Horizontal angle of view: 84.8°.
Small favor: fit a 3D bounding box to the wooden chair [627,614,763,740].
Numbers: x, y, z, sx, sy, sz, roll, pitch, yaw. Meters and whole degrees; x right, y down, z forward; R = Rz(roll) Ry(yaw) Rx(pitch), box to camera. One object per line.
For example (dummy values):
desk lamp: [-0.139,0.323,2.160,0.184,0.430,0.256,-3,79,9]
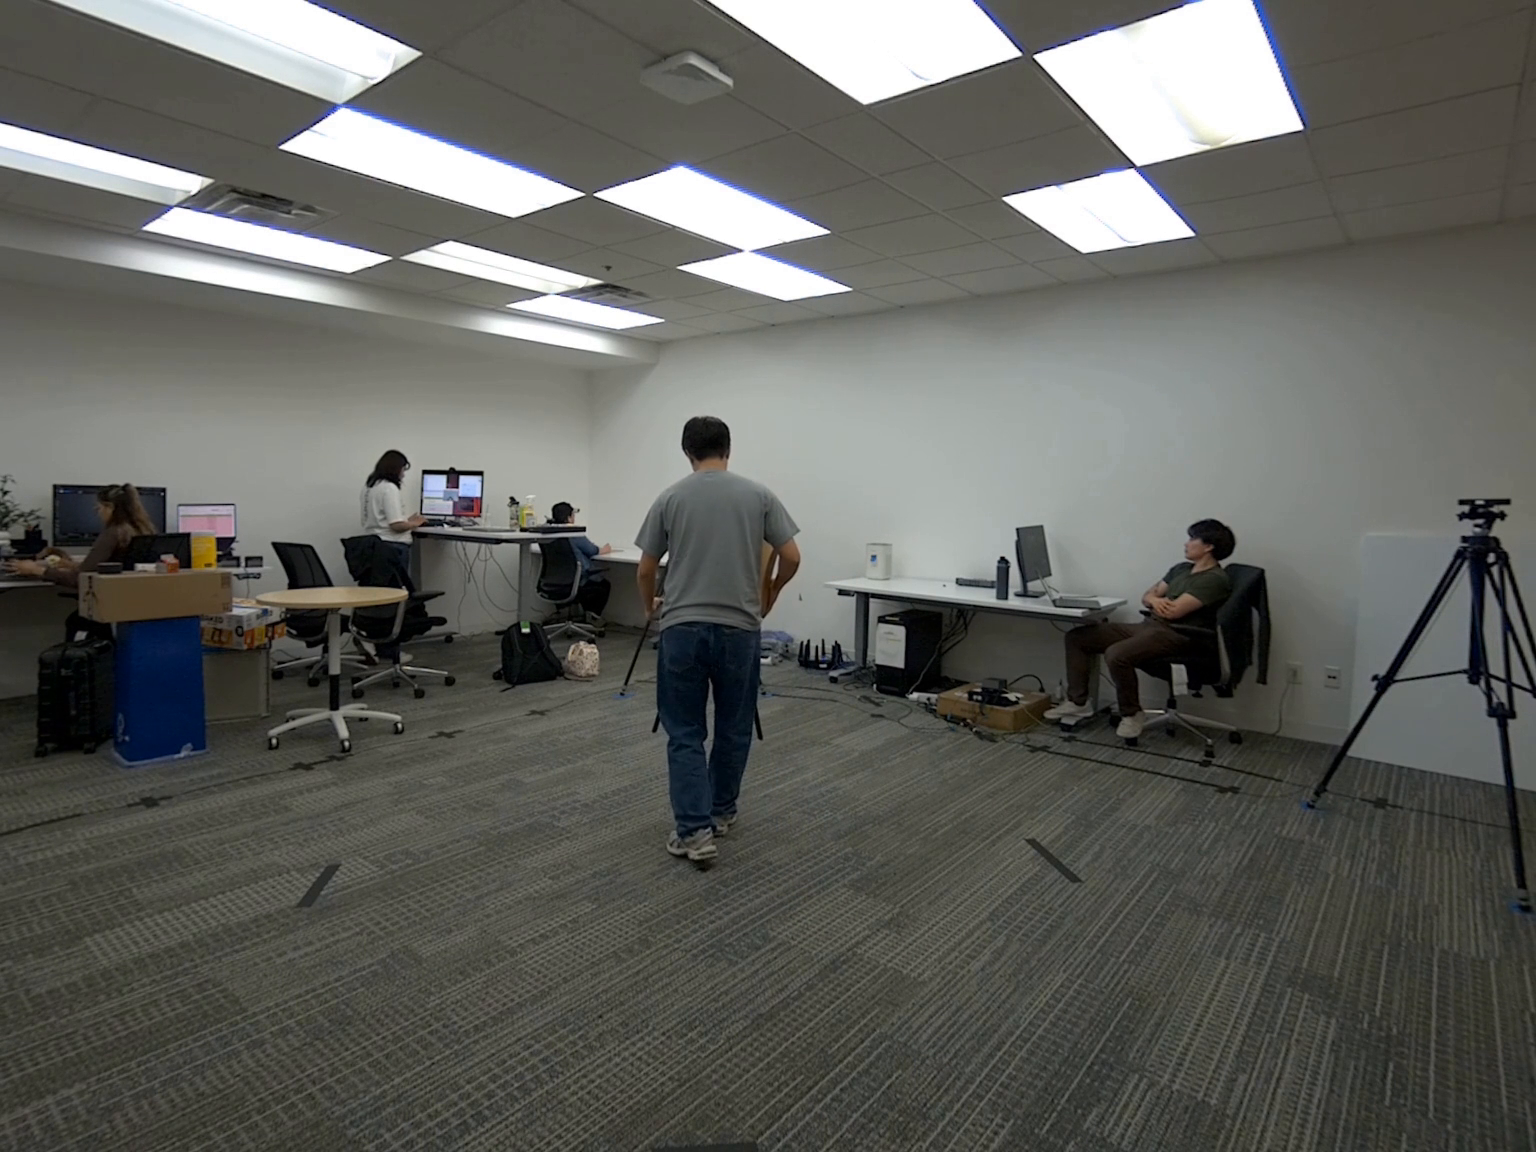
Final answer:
wooden chair: [-0.249,0.198,3.631,0.519,0.871,0.485,8,9,-7]
